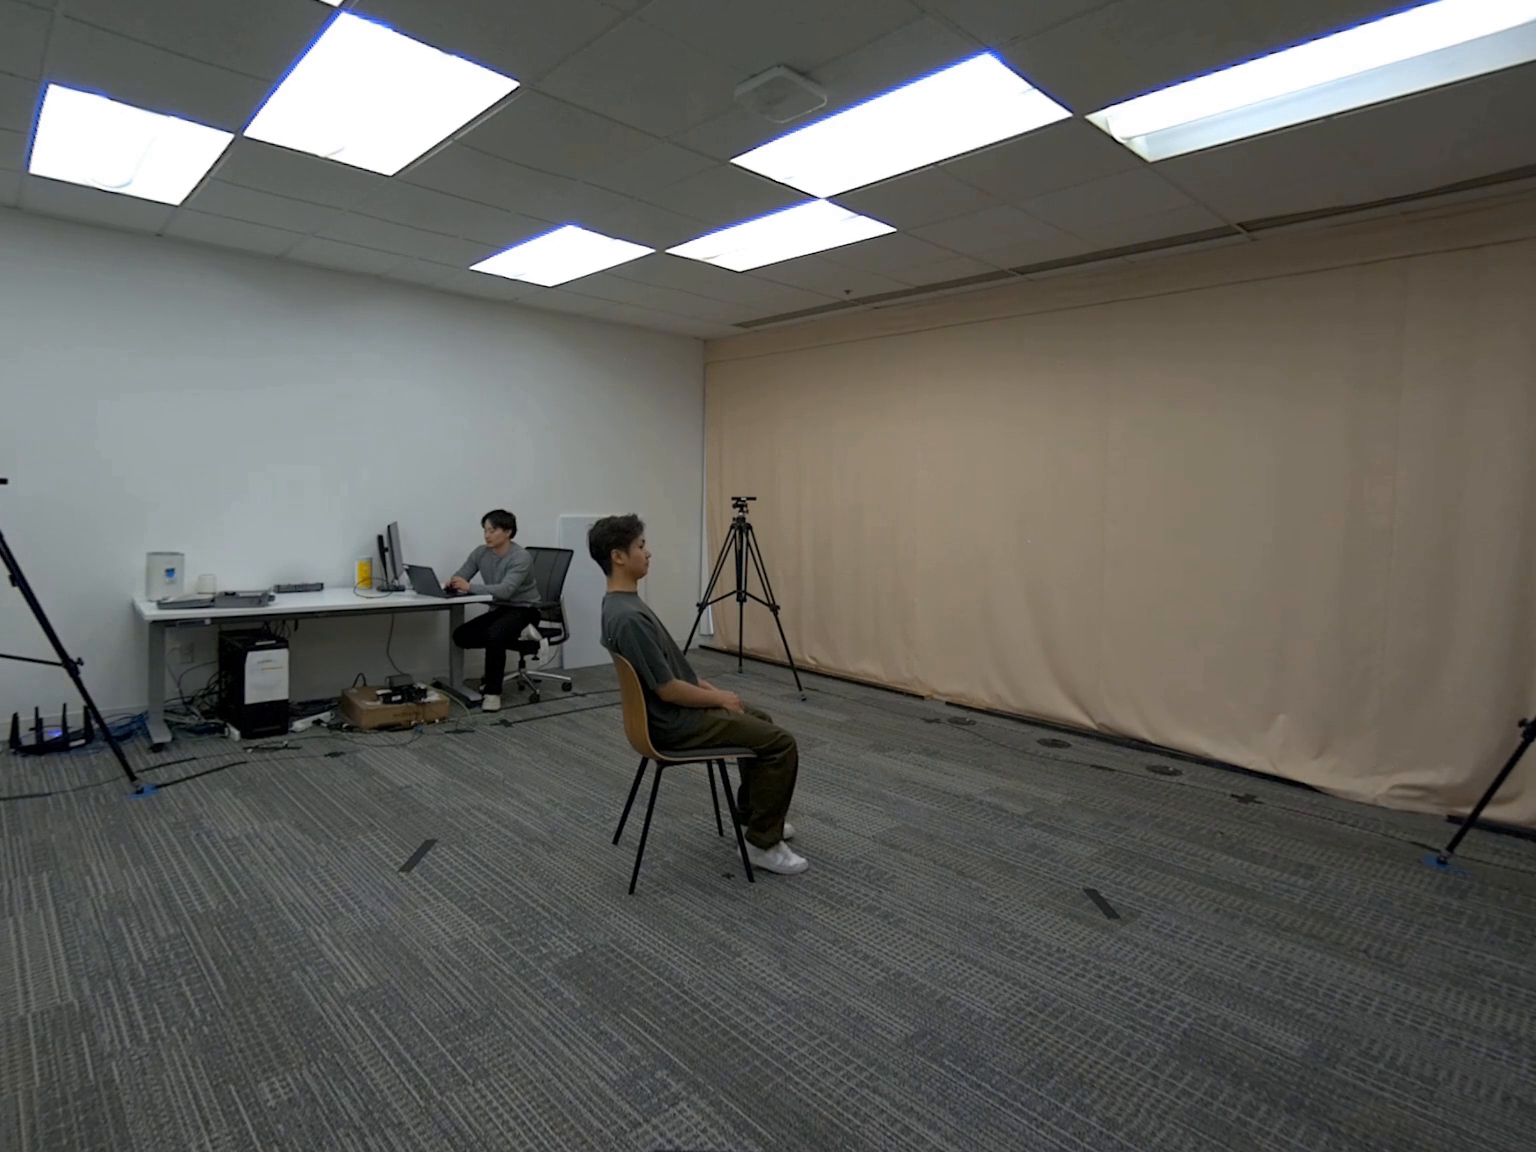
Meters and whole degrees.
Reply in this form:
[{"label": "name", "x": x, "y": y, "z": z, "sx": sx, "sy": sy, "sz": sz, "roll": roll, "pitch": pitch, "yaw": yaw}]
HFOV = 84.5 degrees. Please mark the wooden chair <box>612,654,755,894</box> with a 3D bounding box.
[{"label": "wooden chair", "x": -0.330, "y": 0.663, "z": 3.185, "sx": 0.517, "sy": 0.875, "sz": 0.485, "roll": -4, "pitch": 4, "yaw": -16}]
